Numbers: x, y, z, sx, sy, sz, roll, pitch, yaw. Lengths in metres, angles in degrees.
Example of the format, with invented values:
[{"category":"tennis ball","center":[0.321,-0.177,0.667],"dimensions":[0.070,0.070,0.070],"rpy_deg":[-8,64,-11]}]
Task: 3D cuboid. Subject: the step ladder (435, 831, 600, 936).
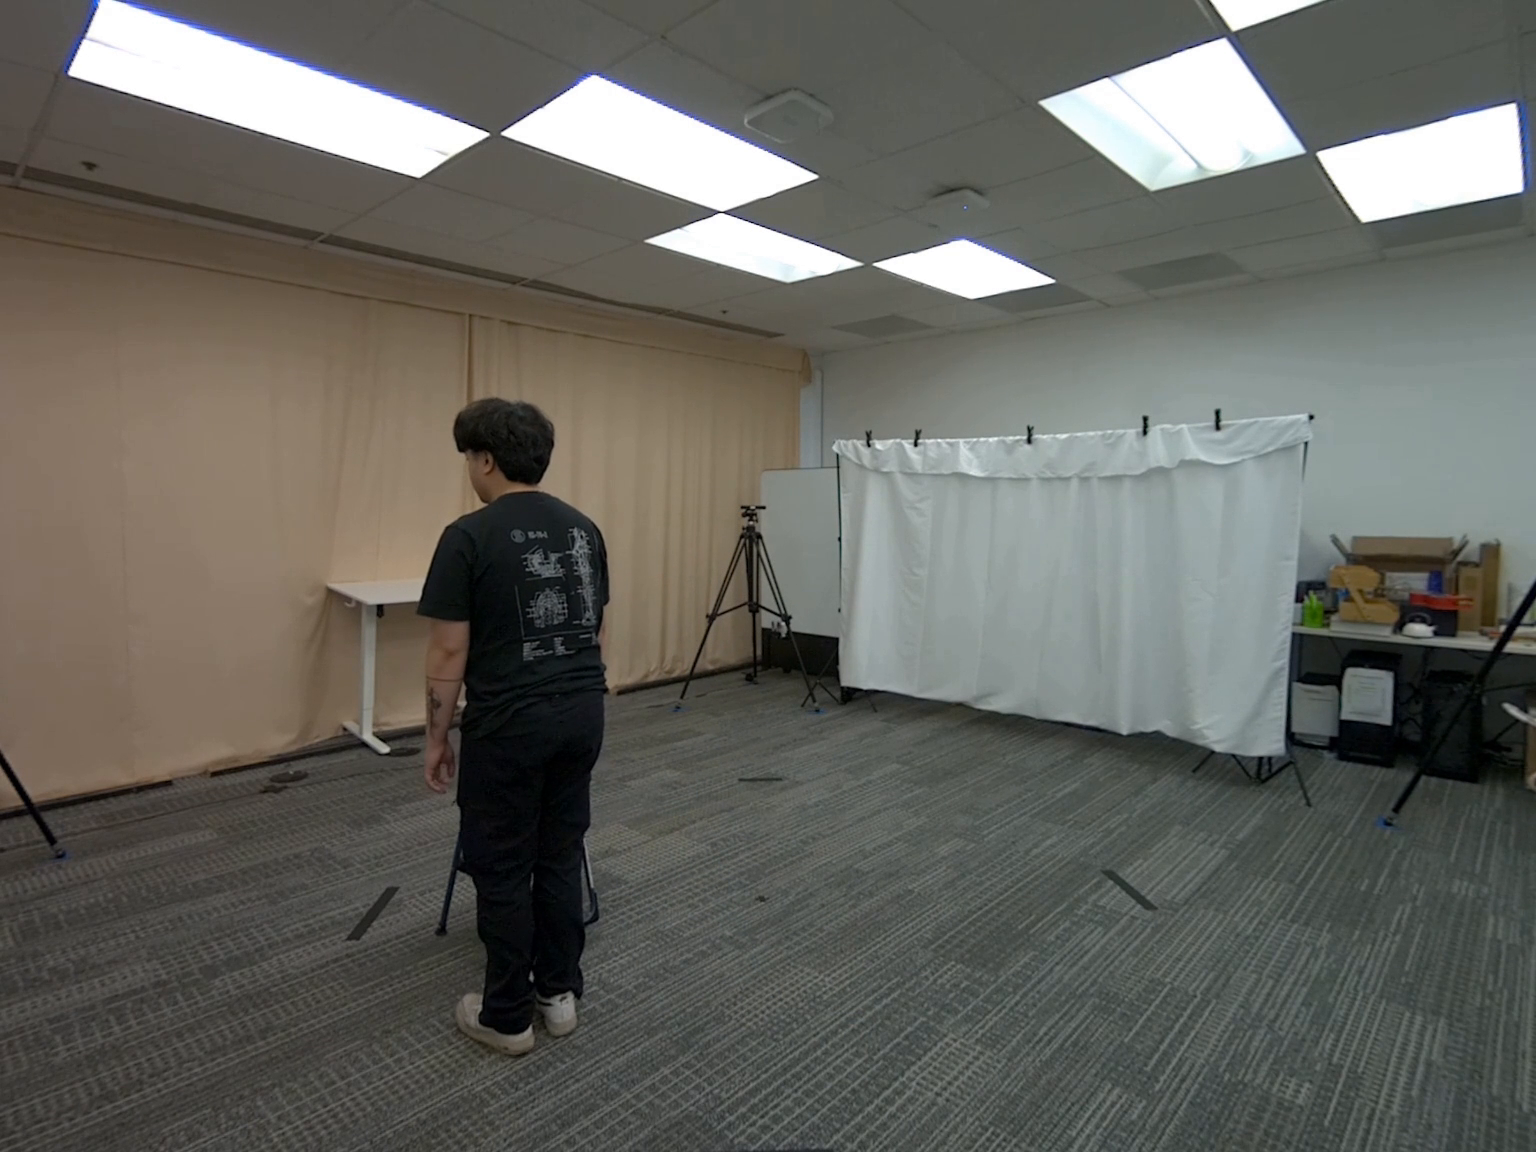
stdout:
[{"category":"step ladder","center":[-0.838,0.867,2.787],"dimensions":[0.361,0.605,0.418],"rpy_deg":[1,4,40]}]
